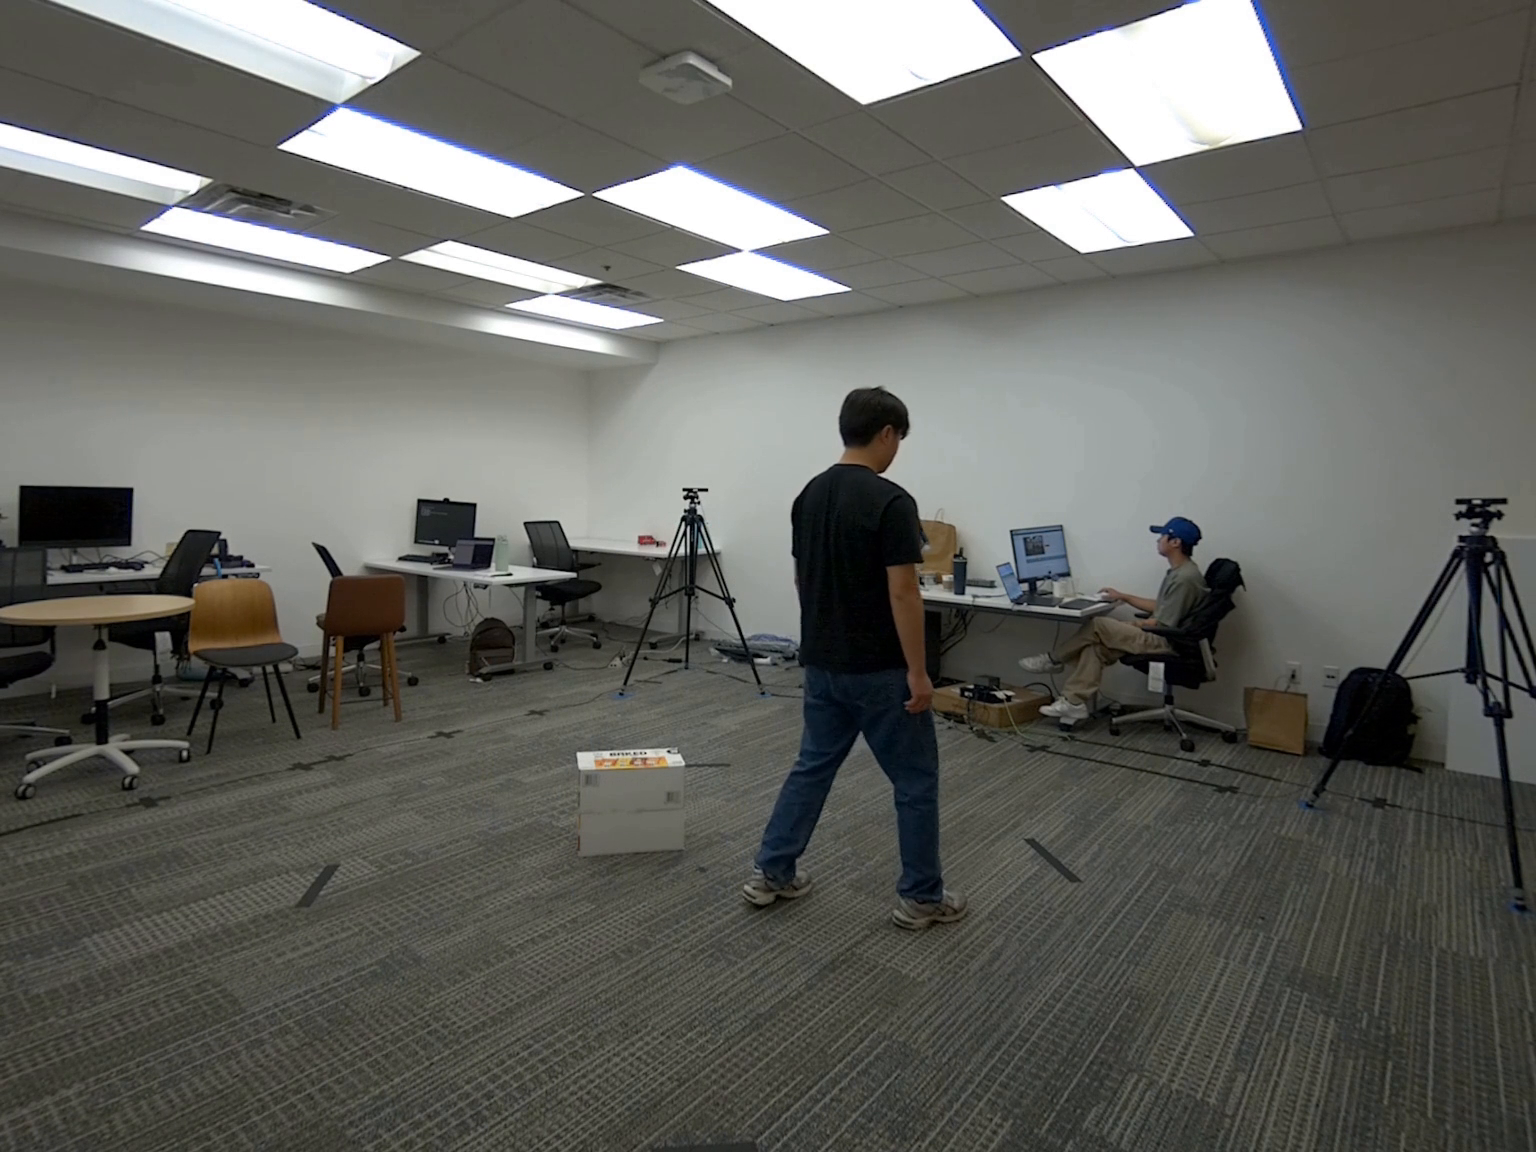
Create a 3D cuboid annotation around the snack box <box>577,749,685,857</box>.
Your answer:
[{"bbox_3d":[-0.553,0.871,3.318,0.400,0.339,0.209,0,6,-13],"label":"snack box"}]
